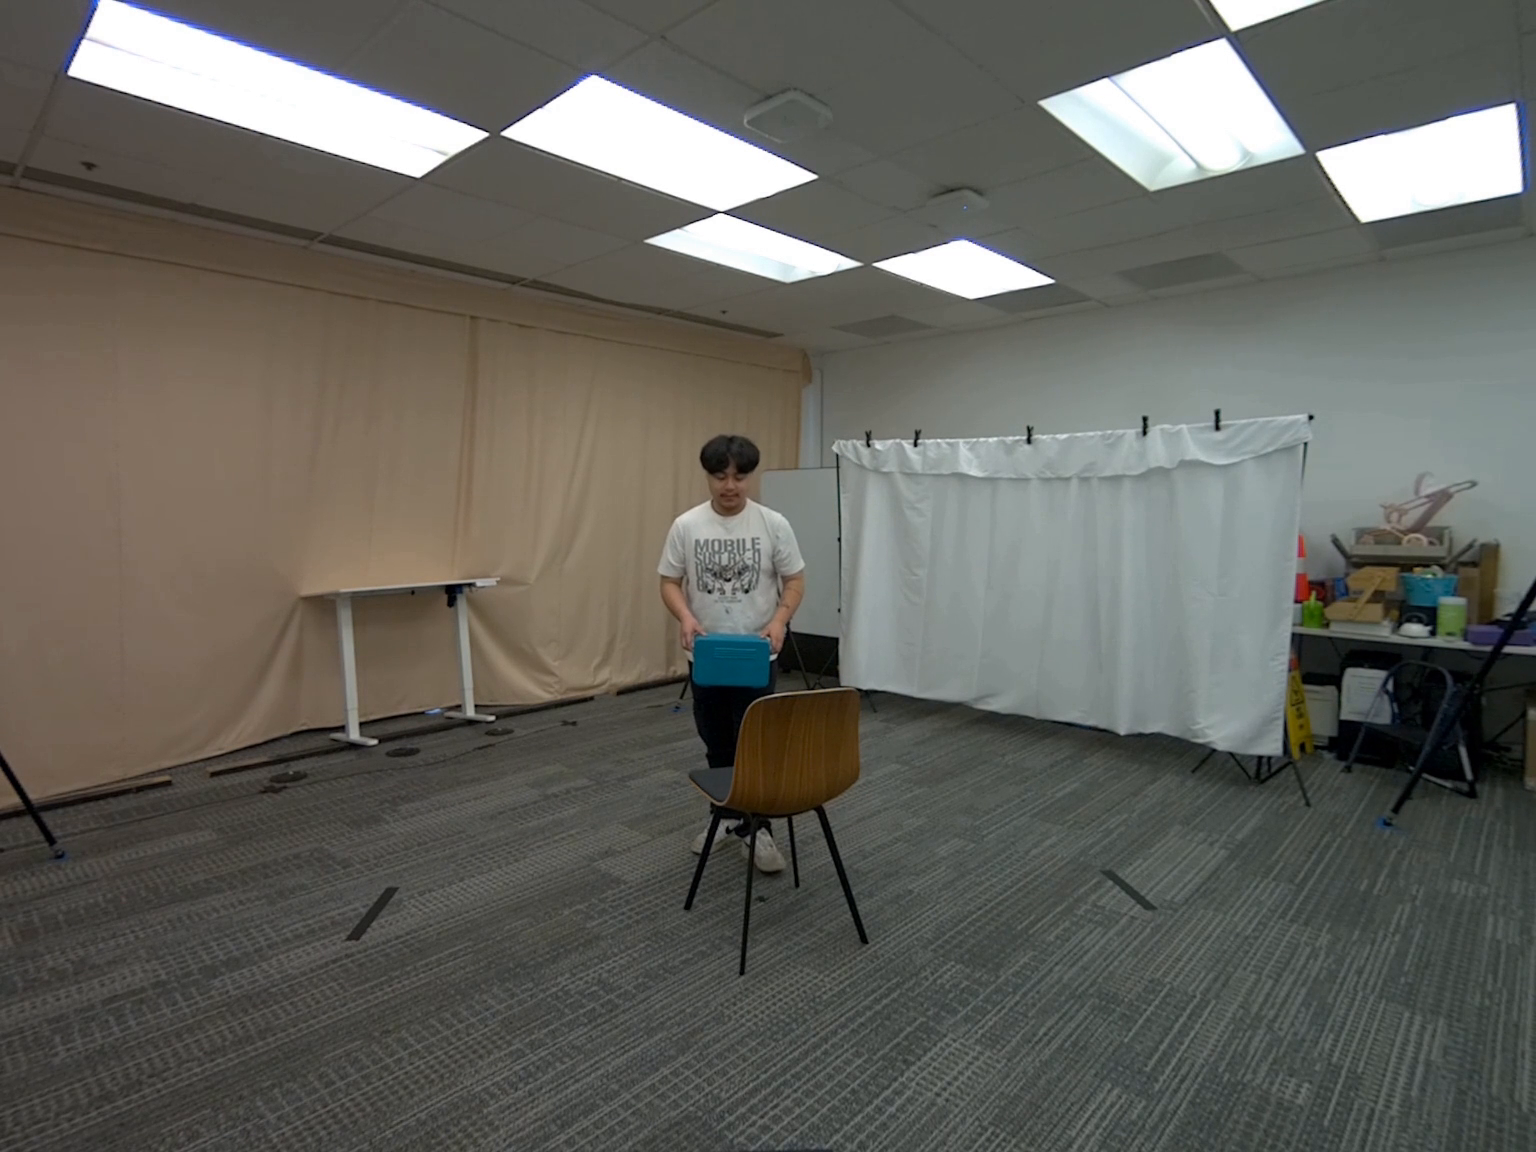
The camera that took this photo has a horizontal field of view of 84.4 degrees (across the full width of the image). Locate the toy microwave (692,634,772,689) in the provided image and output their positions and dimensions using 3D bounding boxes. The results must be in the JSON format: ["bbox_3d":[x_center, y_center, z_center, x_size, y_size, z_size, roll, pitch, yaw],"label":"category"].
[{"bbox_3d":[-0.145,0.317,3.155,0.286,0.183,0.153,2,7,0],"label":"toy microwave"}]
